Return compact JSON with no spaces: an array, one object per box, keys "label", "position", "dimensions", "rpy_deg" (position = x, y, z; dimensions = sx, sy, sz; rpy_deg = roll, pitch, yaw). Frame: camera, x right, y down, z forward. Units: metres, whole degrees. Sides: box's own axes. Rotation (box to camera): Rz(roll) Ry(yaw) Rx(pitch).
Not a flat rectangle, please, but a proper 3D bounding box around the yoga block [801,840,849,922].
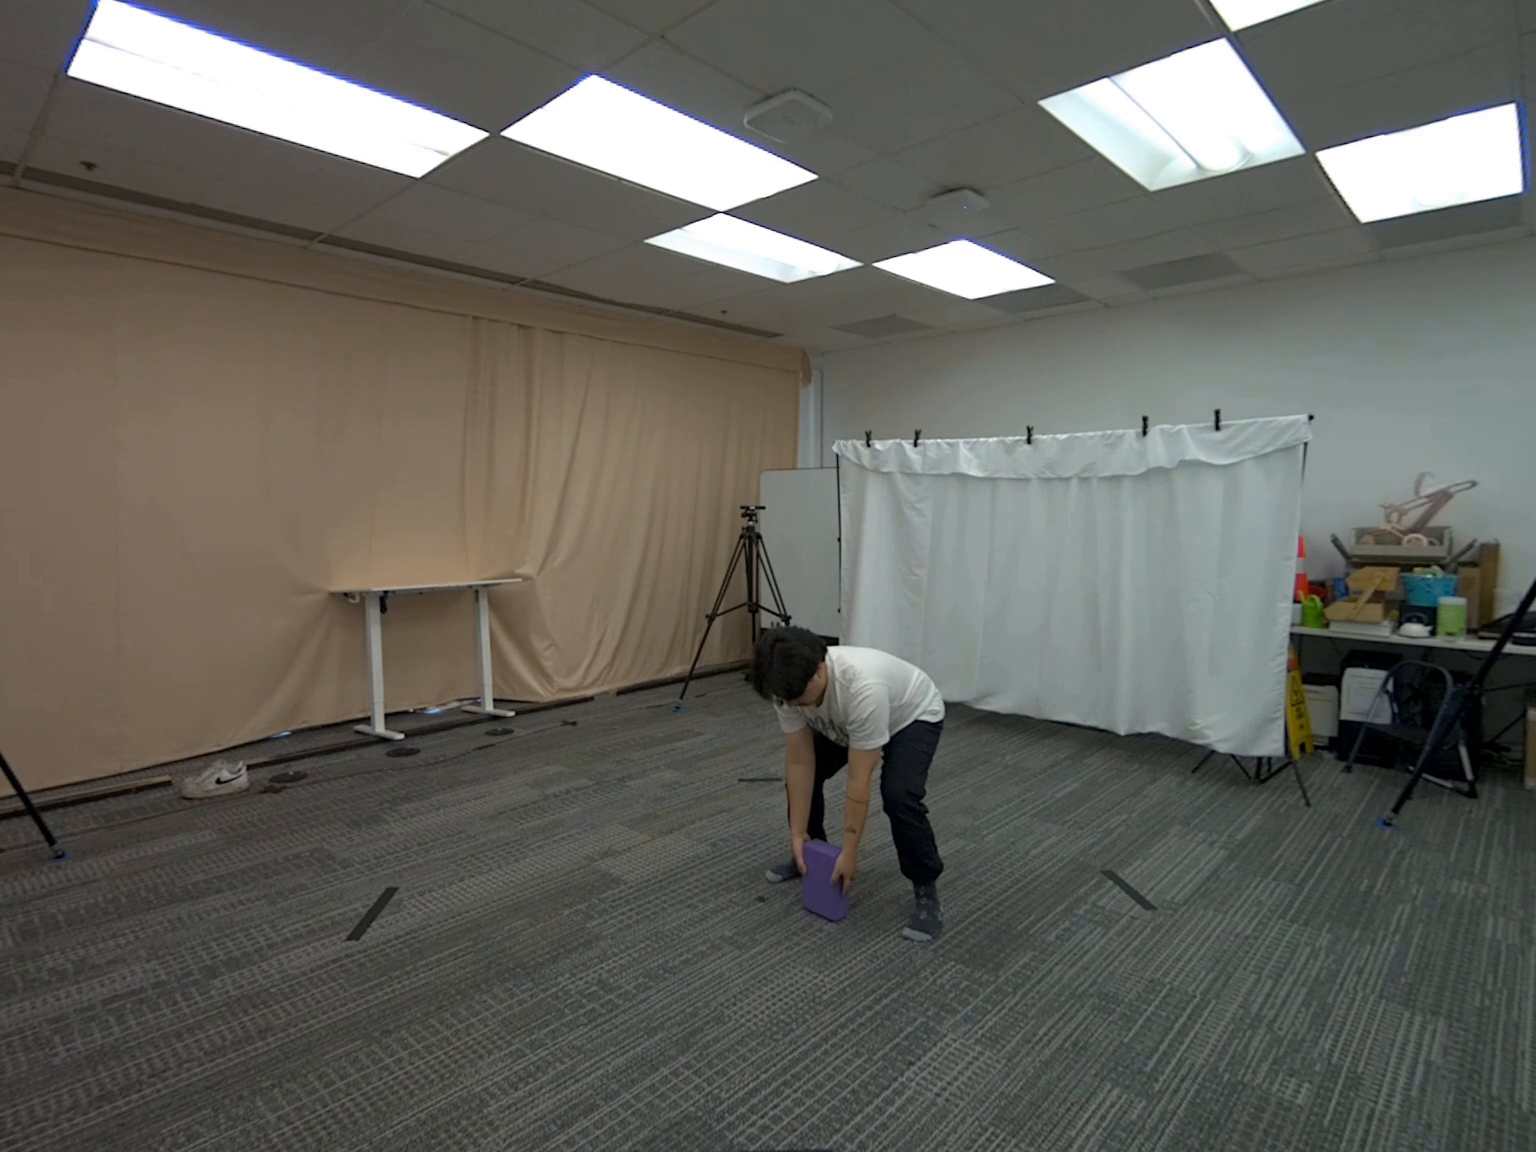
[{"label":"yoga block","position":[0.199,1.023,2.871],"dimensions":[0.154,0.228,0.074],"rpy_deg":[4,6,40]}]
